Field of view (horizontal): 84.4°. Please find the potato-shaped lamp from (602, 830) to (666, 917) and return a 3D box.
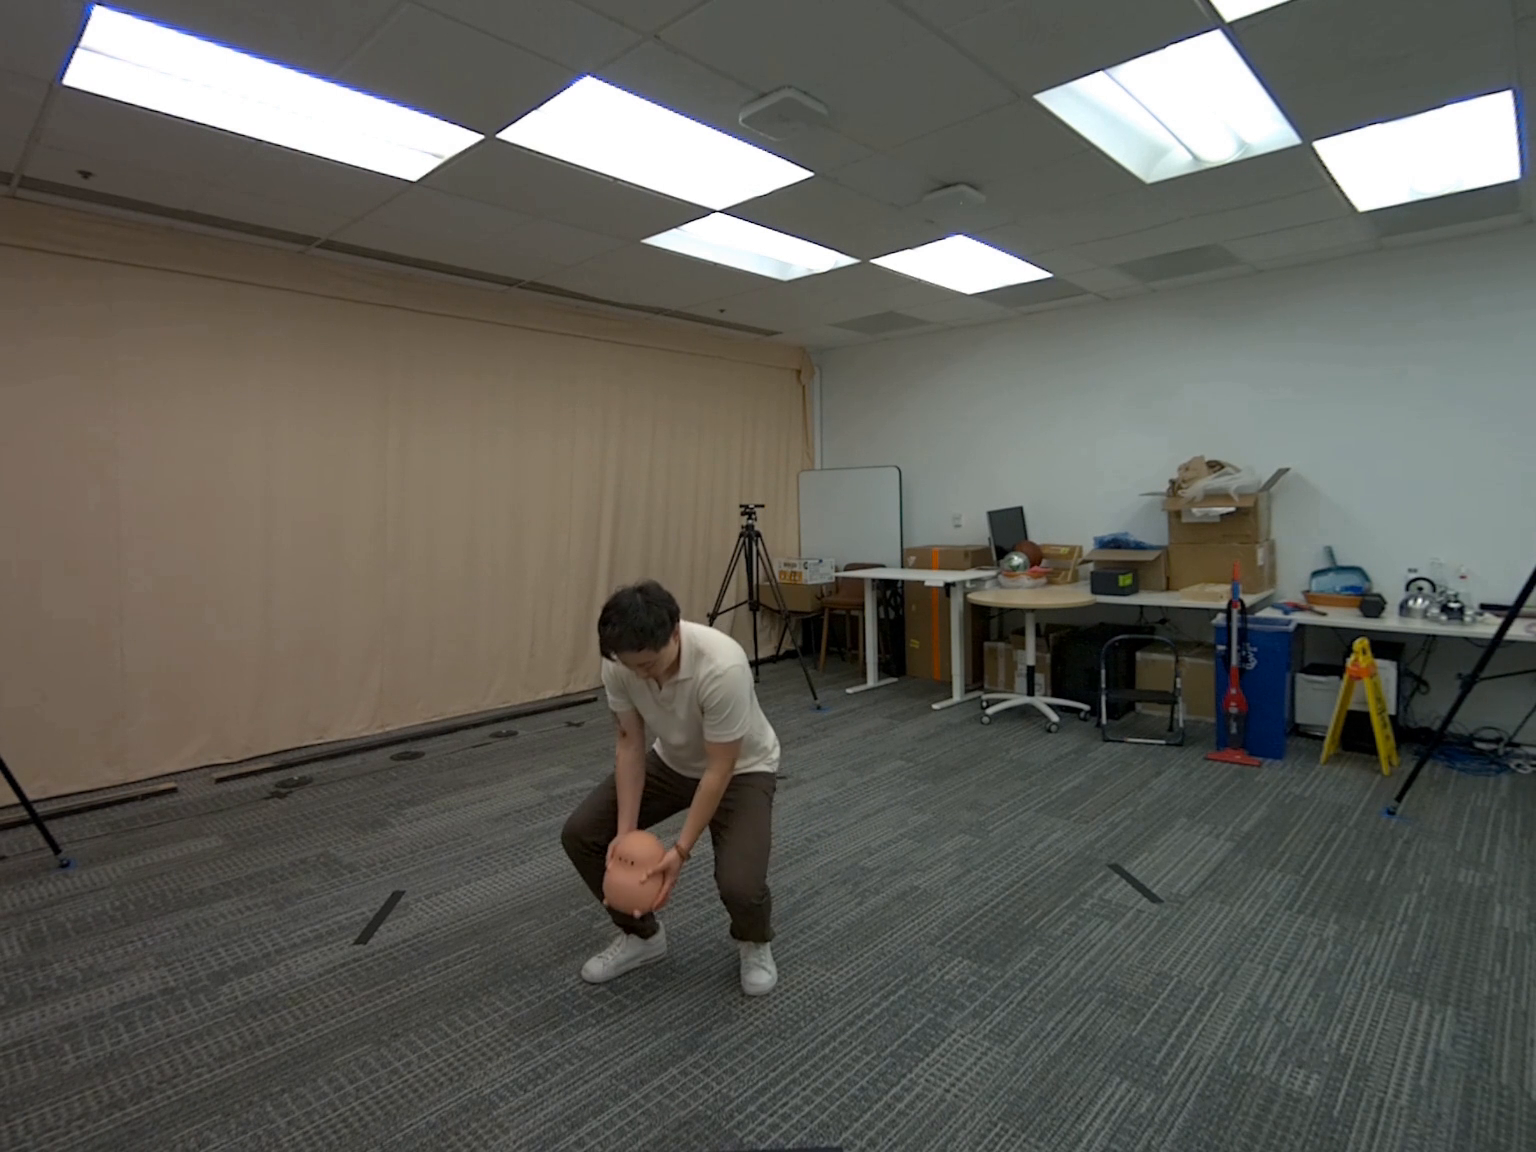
[{"bbox_3d":[-0.341,0.793,2.279,0.170,0.198,0.167,6,4,30],"label":"potato-shaped lamp"}]
